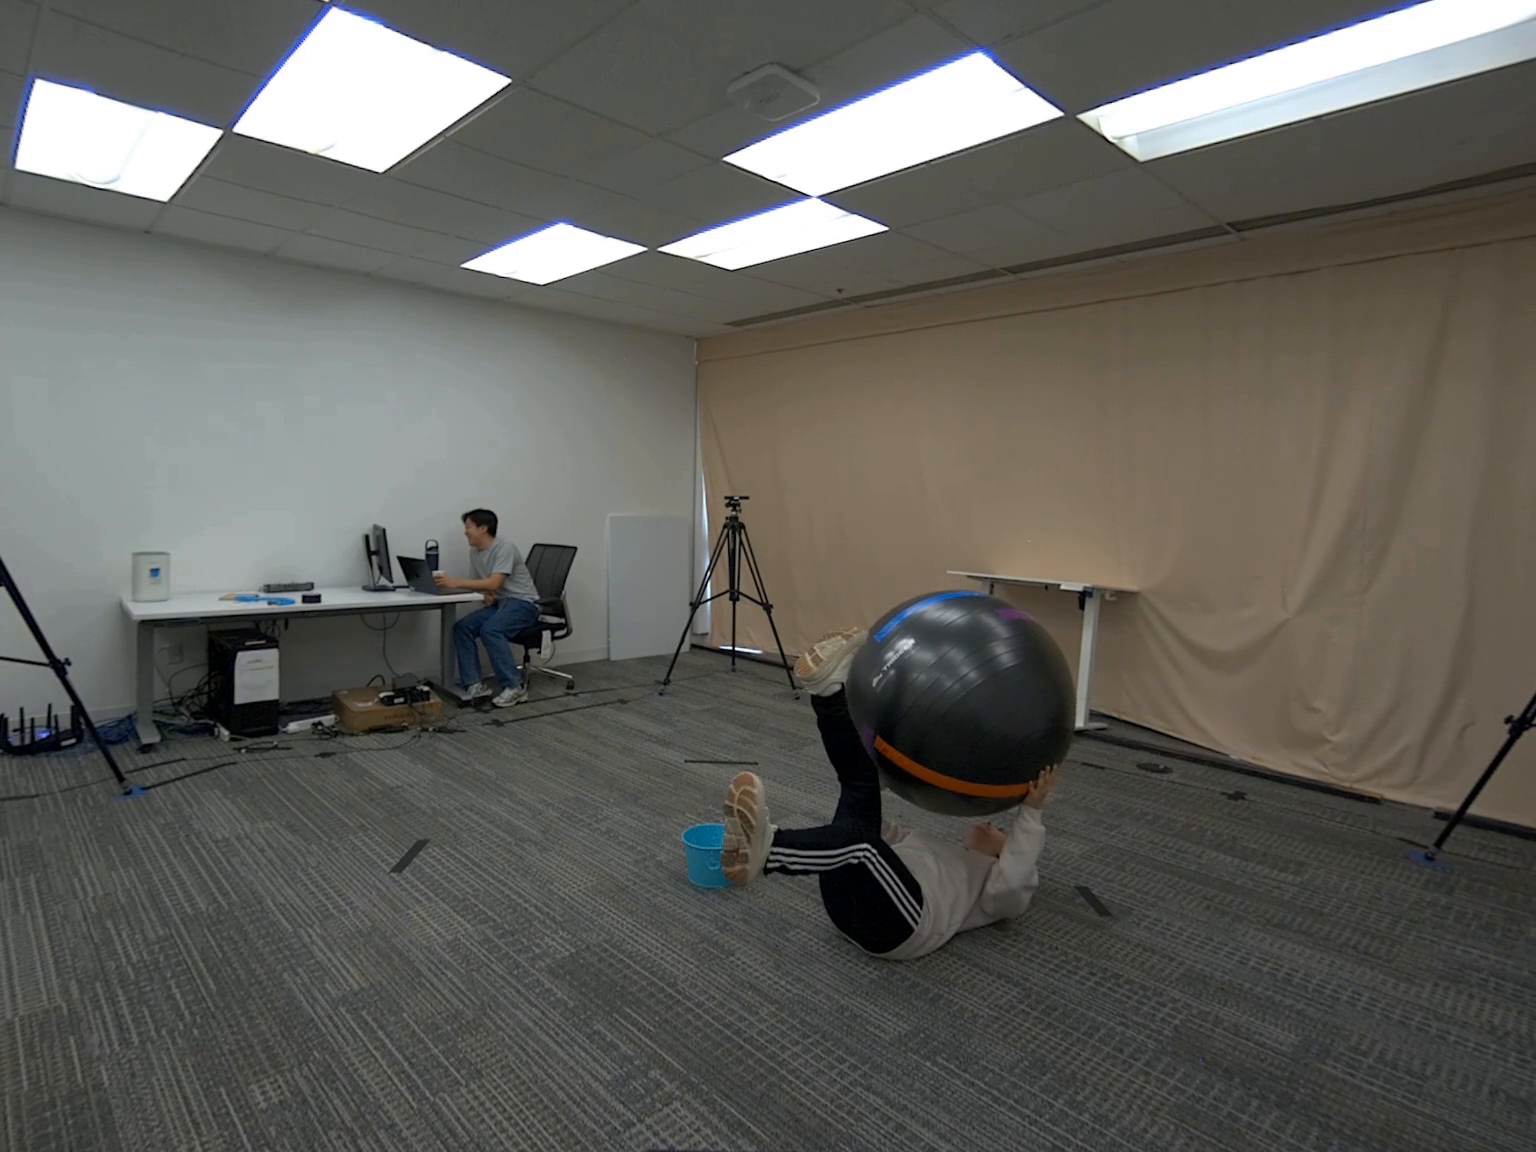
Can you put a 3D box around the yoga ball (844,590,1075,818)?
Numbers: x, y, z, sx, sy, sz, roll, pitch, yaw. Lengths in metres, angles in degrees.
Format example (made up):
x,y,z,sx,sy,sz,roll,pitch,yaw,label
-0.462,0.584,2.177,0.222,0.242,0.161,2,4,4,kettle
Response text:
x,y,z,sx,sy,sz,roll,pitch,yaw,label
0.653,0.427,2.870,0.757,0.756,0.761,1,4,-1,yoga ball
